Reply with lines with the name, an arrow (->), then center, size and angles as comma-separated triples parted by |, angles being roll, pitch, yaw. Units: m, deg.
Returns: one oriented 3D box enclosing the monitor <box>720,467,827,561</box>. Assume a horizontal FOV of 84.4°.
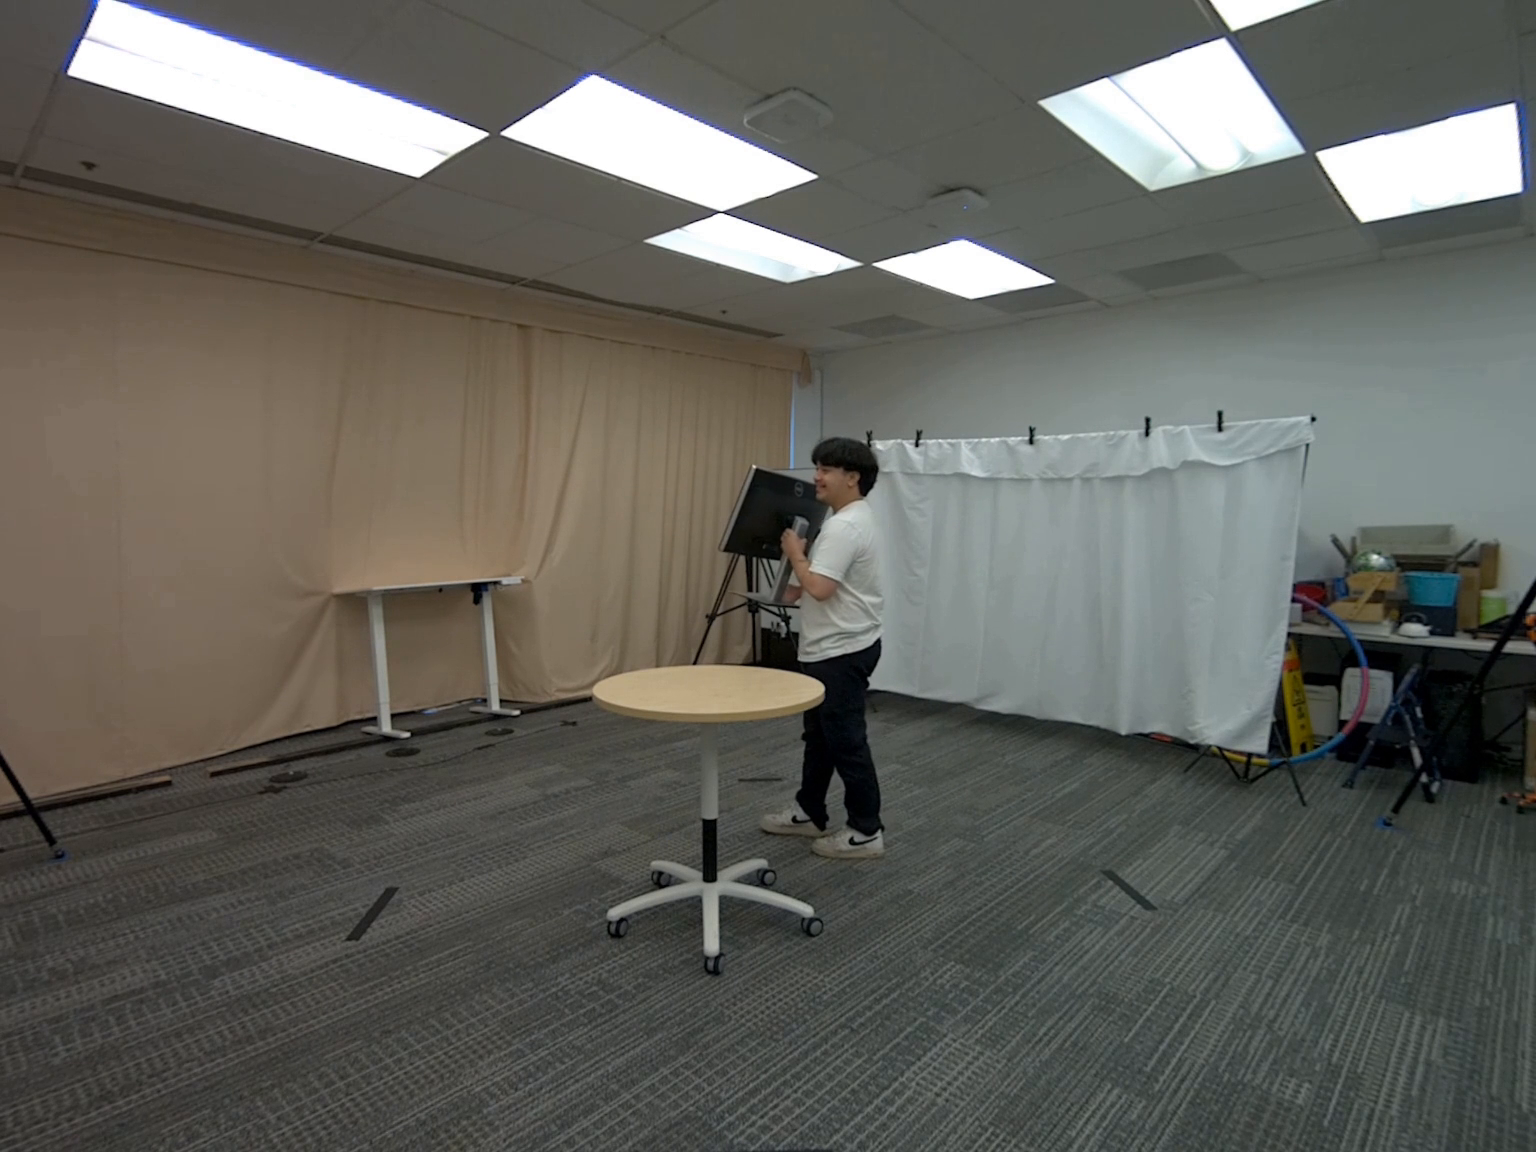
monitor -> 0.079, -0.132, 3.457 | 0.218, 0.553, 0.546 | 24, 10, 40
